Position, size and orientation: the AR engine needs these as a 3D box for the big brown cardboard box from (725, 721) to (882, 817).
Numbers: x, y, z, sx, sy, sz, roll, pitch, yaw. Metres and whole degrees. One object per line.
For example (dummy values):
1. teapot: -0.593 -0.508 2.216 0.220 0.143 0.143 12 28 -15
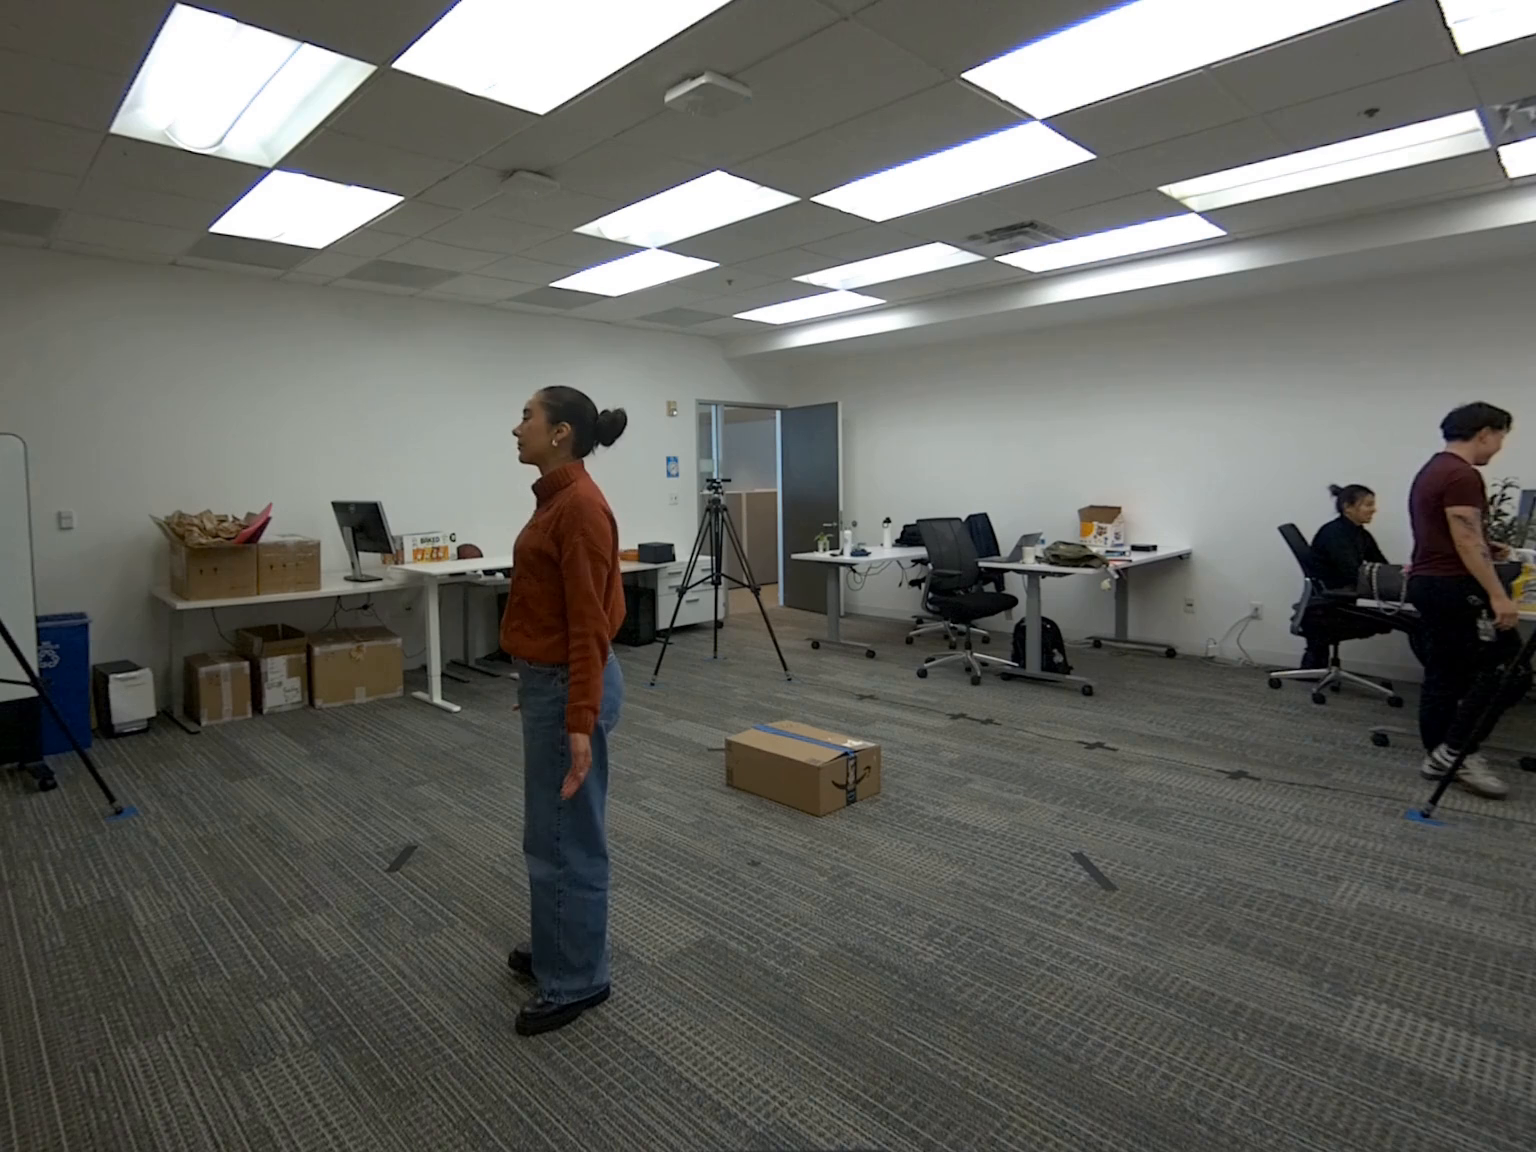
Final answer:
1. big brown cardboard box: 0.155 0.847 3.842 0.407 0.232 0.607 -7 7 -45
